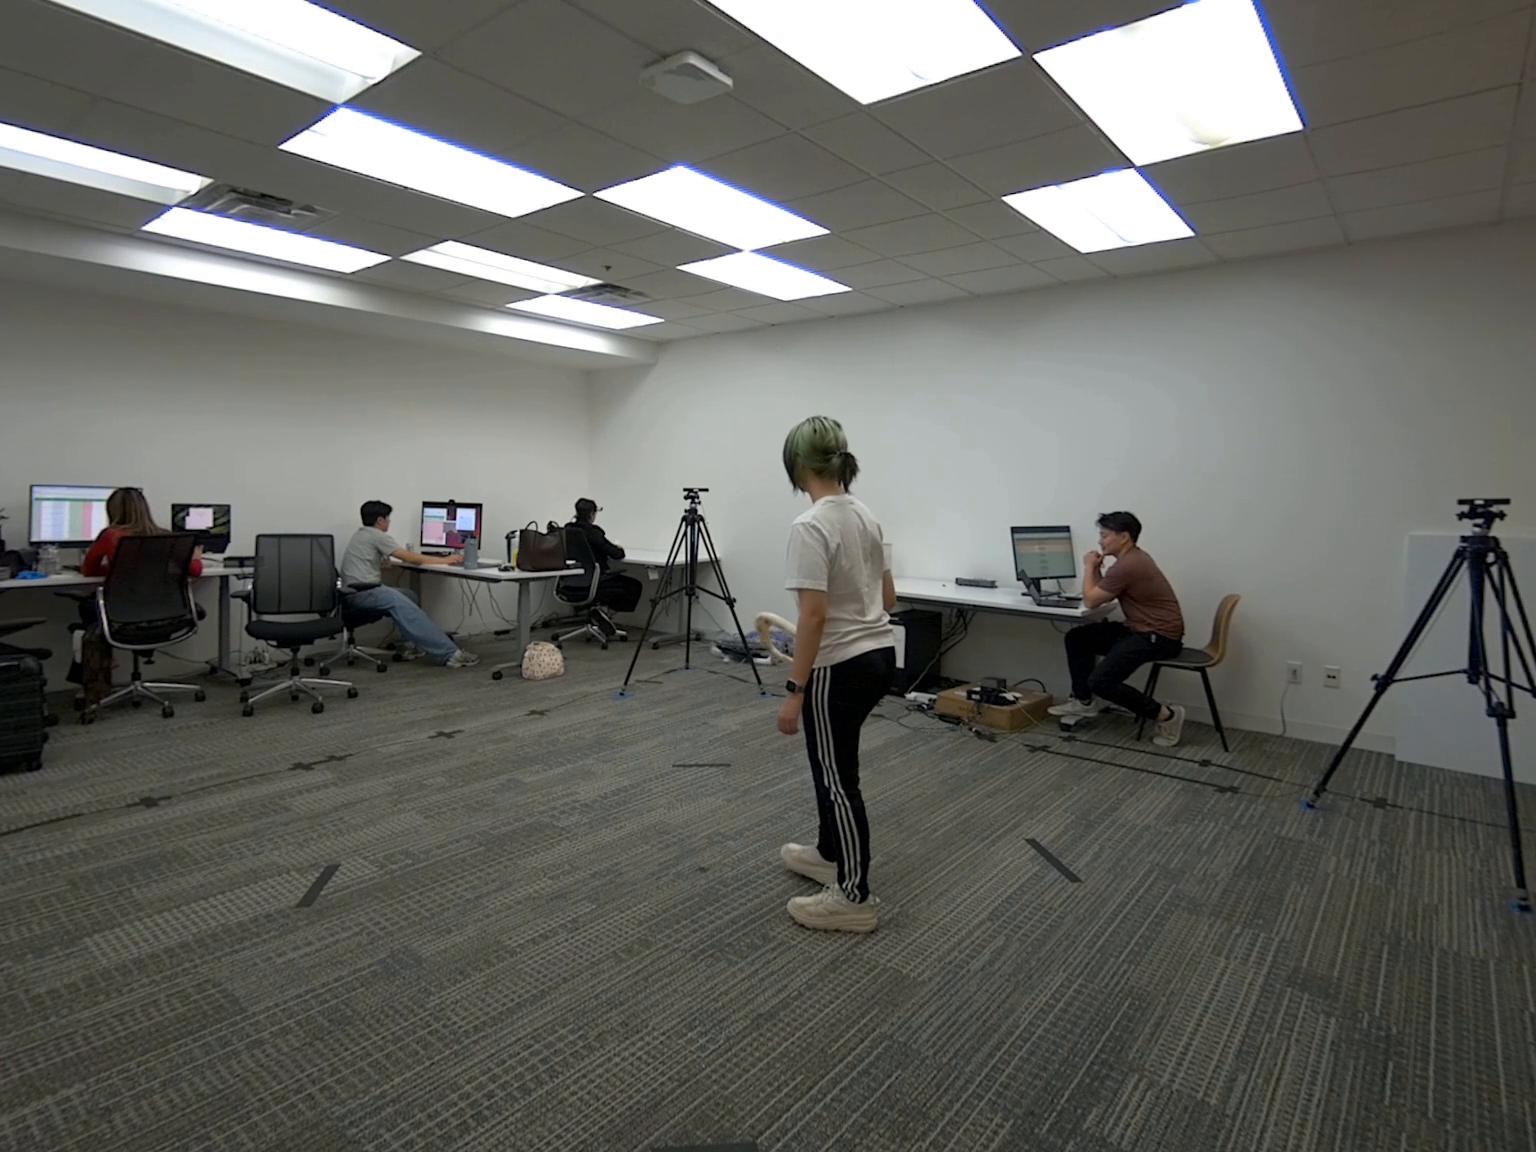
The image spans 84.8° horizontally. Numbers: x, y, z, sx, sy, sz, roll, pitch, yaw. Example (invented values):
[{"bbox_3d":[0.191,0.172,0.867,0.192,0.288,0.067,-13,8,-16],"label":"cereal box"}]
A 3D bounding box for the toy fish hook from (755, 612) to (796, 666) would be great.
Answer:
[{"bbox_3d":[0.123,0.263,3.202,0.048,0.218,0.526,-36,34,-28],"label":"toy fish hook"}]
